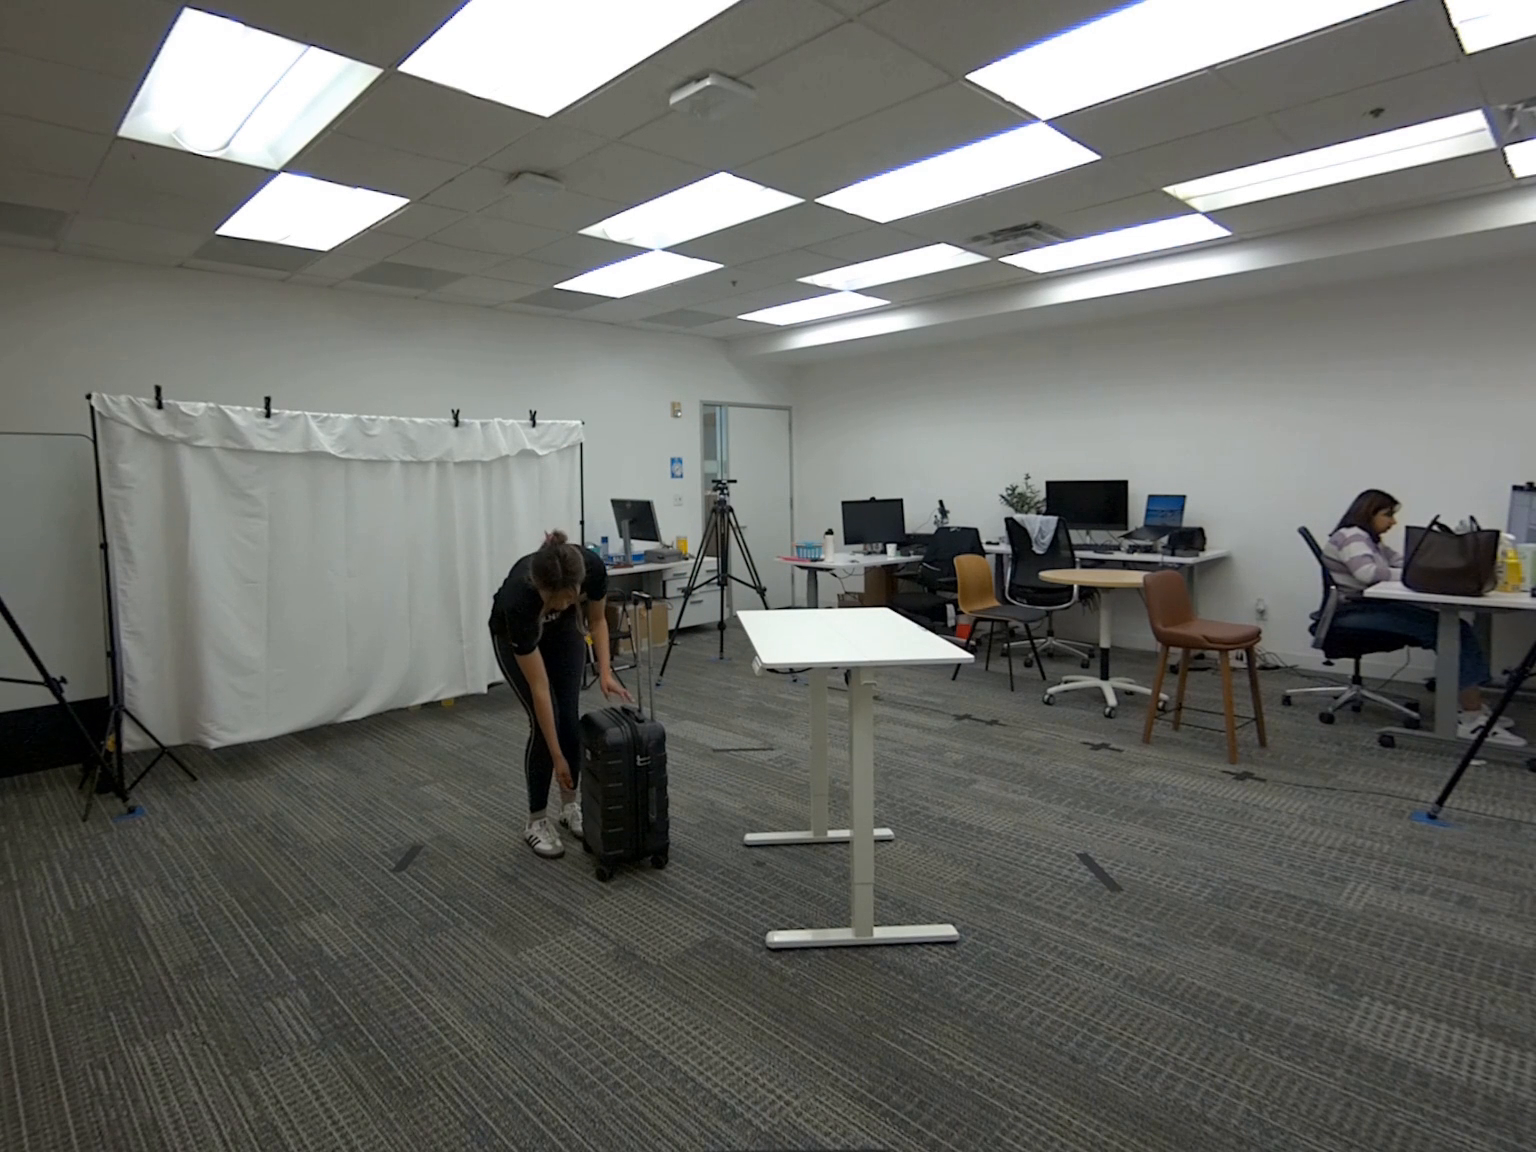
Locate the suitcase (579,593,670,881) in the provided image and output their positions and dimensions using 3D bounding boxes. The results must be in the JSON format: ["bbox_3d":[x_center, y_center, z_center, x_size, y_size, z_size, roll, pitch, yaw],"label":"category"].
[{"bbox_3d":[-0.540,0.579,3.132,0.252,0.974,0.393,-4,5,-22],"label":"suitcase"}]
